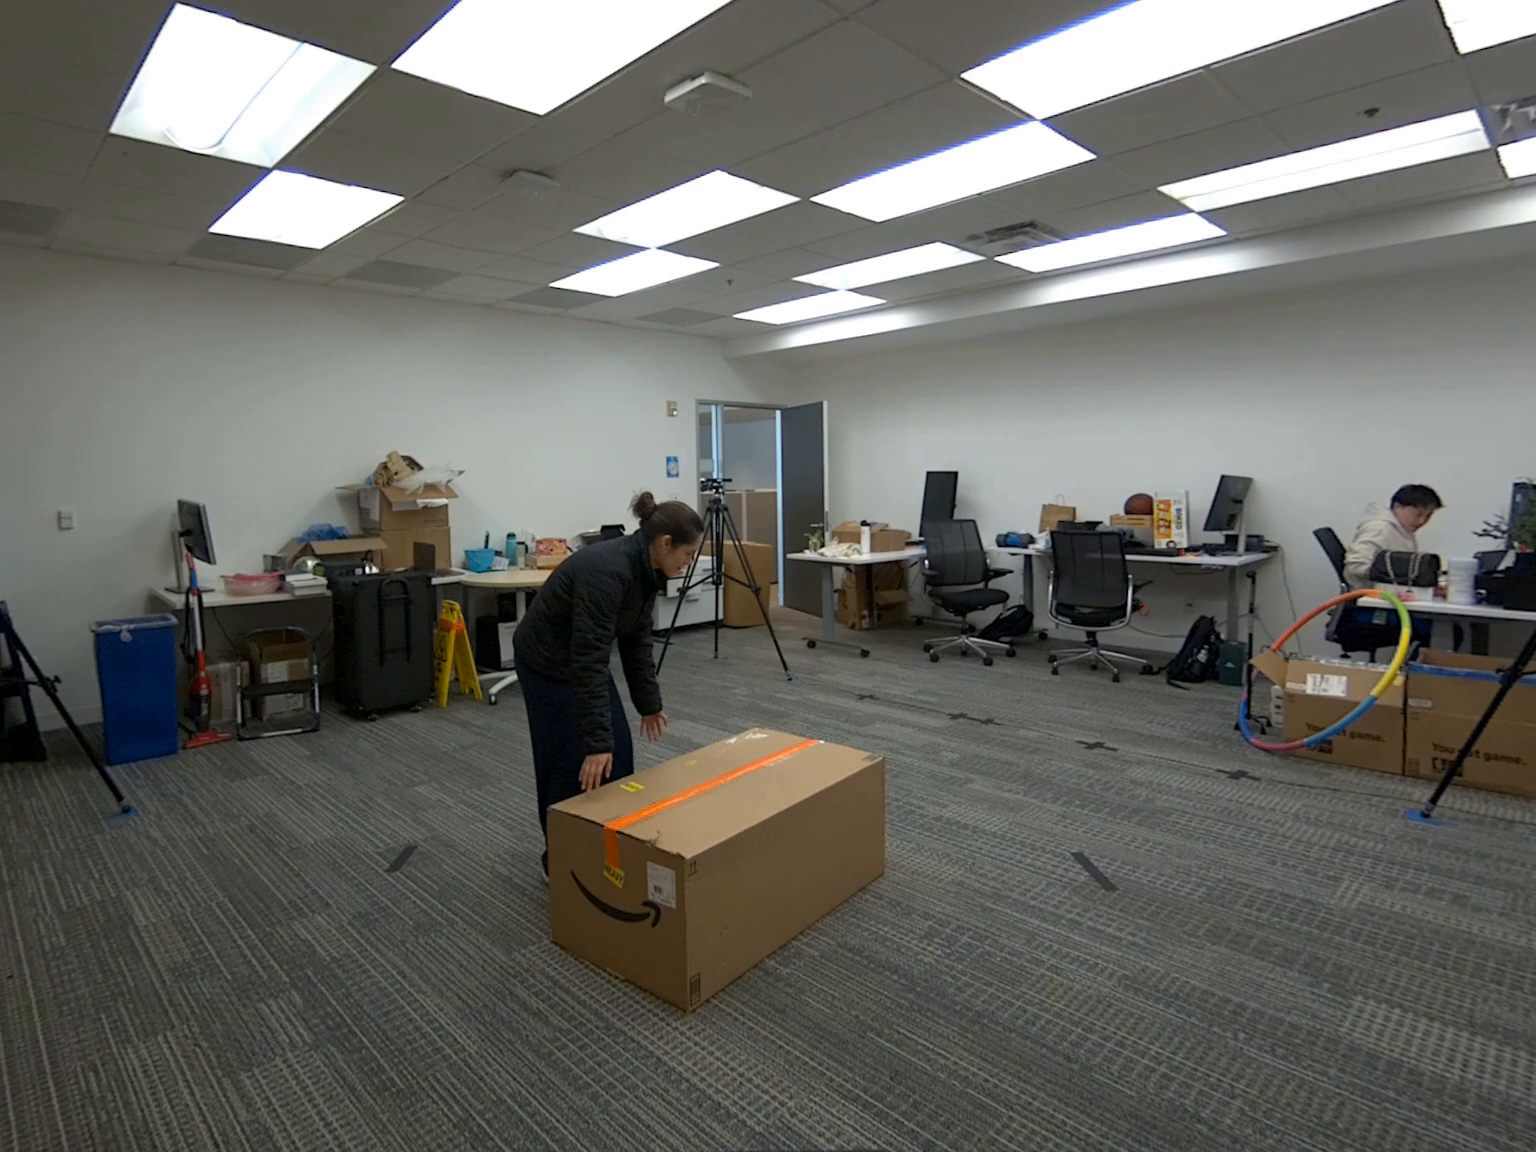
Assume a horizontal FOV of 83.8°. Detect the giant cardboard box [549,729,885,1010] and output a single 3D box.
[{"bbox_3d":[-0.125,0.868,2.800,0.594,0.424,1.000,3,7,38],"label":"giant cardboard box"}]
